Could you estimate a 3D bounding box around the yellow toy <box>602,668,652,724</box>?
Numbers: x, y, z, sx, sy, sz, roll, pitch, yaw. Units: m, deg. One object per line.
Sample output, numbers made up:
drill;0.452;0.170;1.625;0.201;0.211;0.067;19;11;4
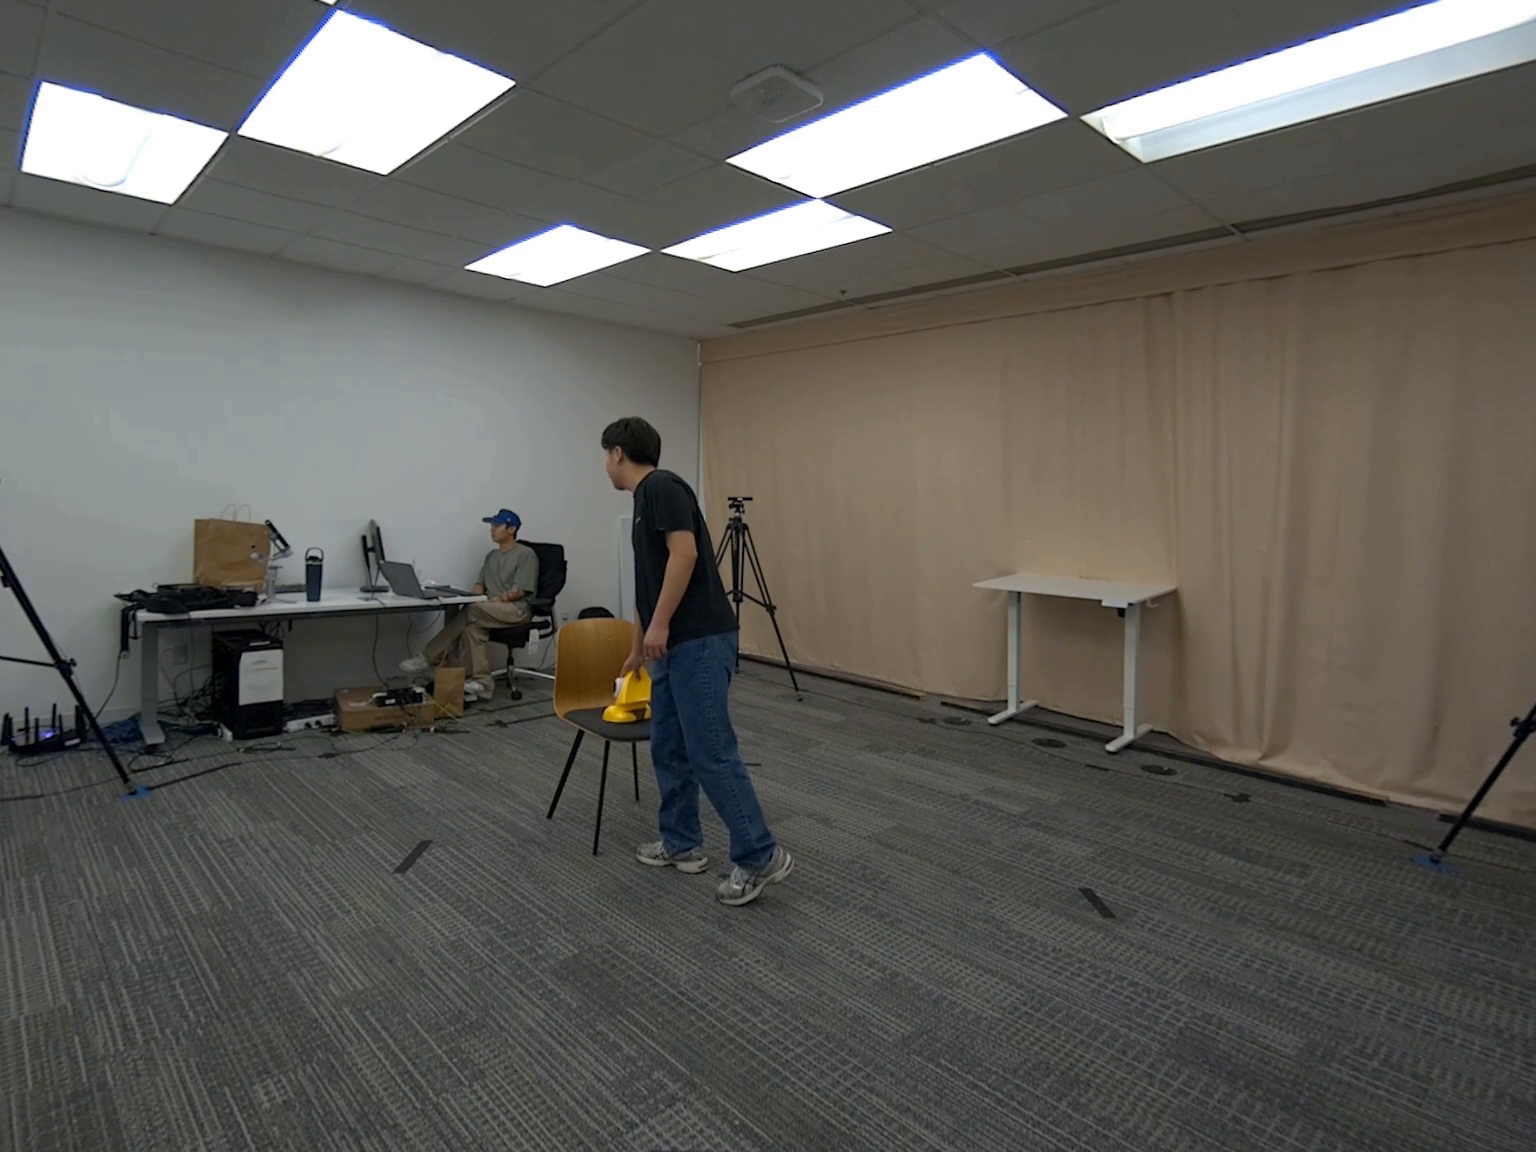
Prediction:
yellow toy;-0.579;0.467;3.459;0.197;0.231;0.200;-1;-1;43
